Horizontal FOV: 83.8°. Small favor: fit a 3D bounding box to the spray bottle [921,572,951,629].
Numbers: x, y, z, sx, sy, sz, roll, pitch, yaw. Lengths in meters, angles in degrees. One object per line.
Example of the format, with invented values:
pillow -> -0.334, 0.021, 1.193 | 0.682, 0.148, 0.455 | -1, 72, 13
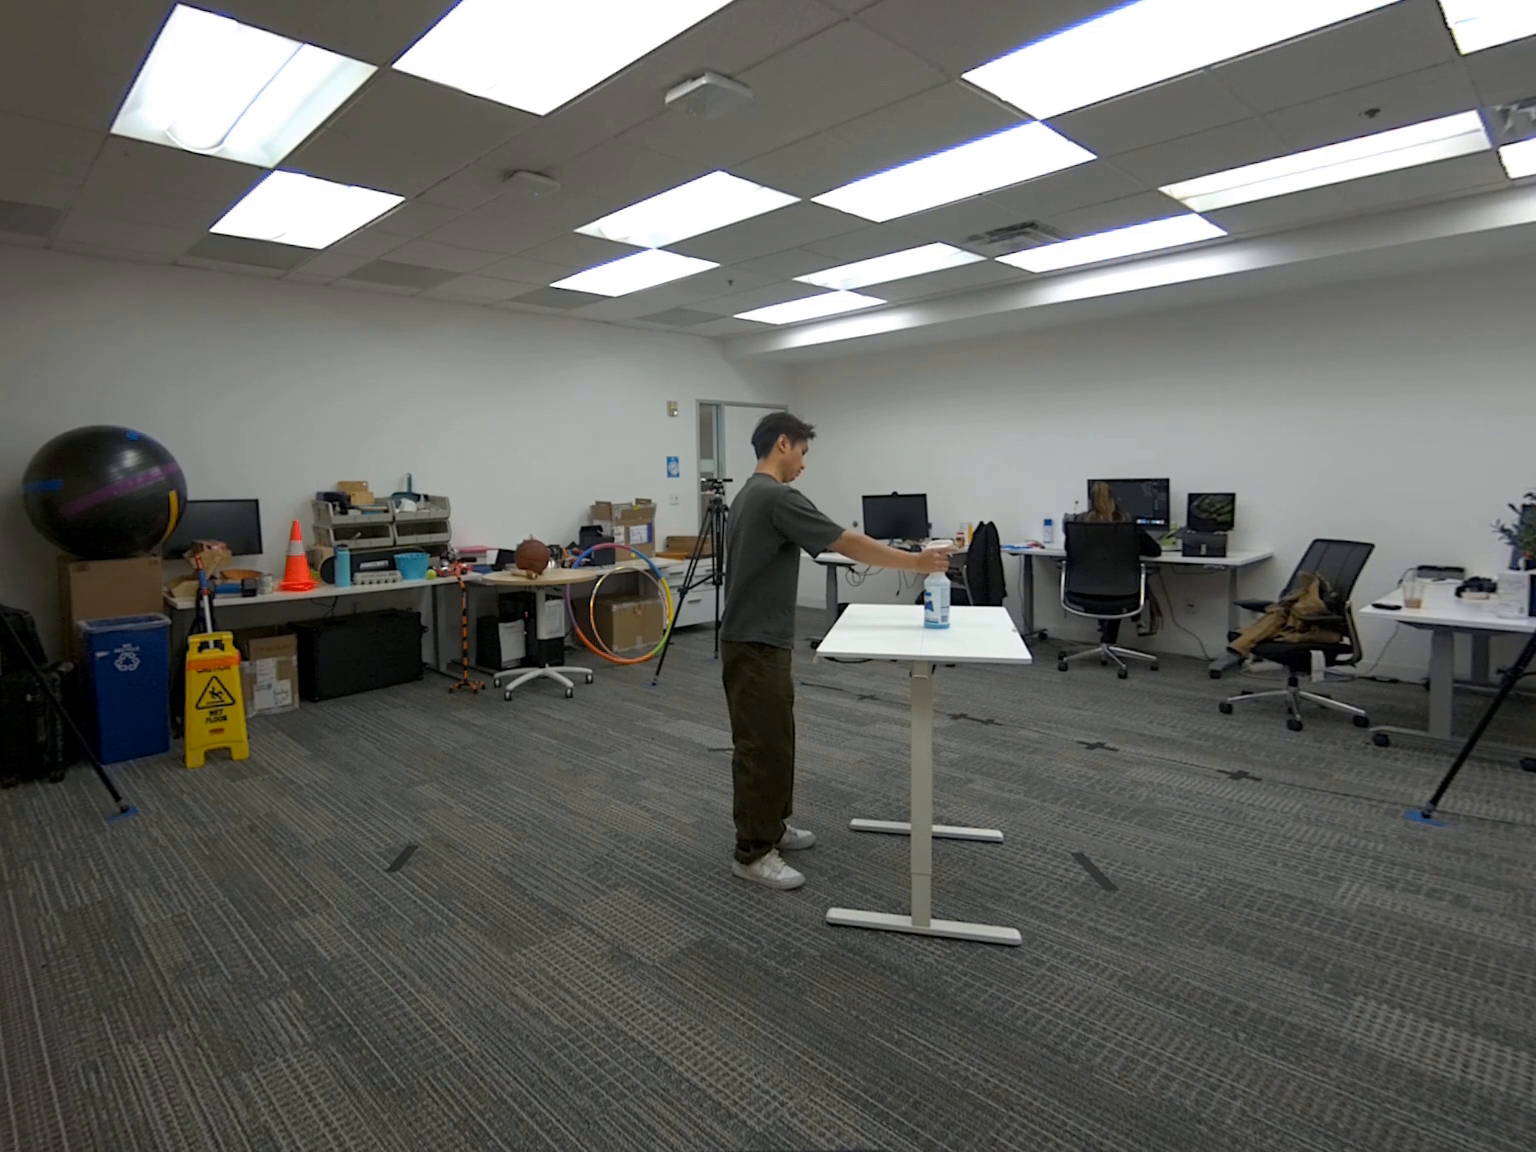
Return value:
spray bottle -> 0.573, 0.028, 2.892 | 0.093, 0.297, 0.085 | 2, 3, 38
